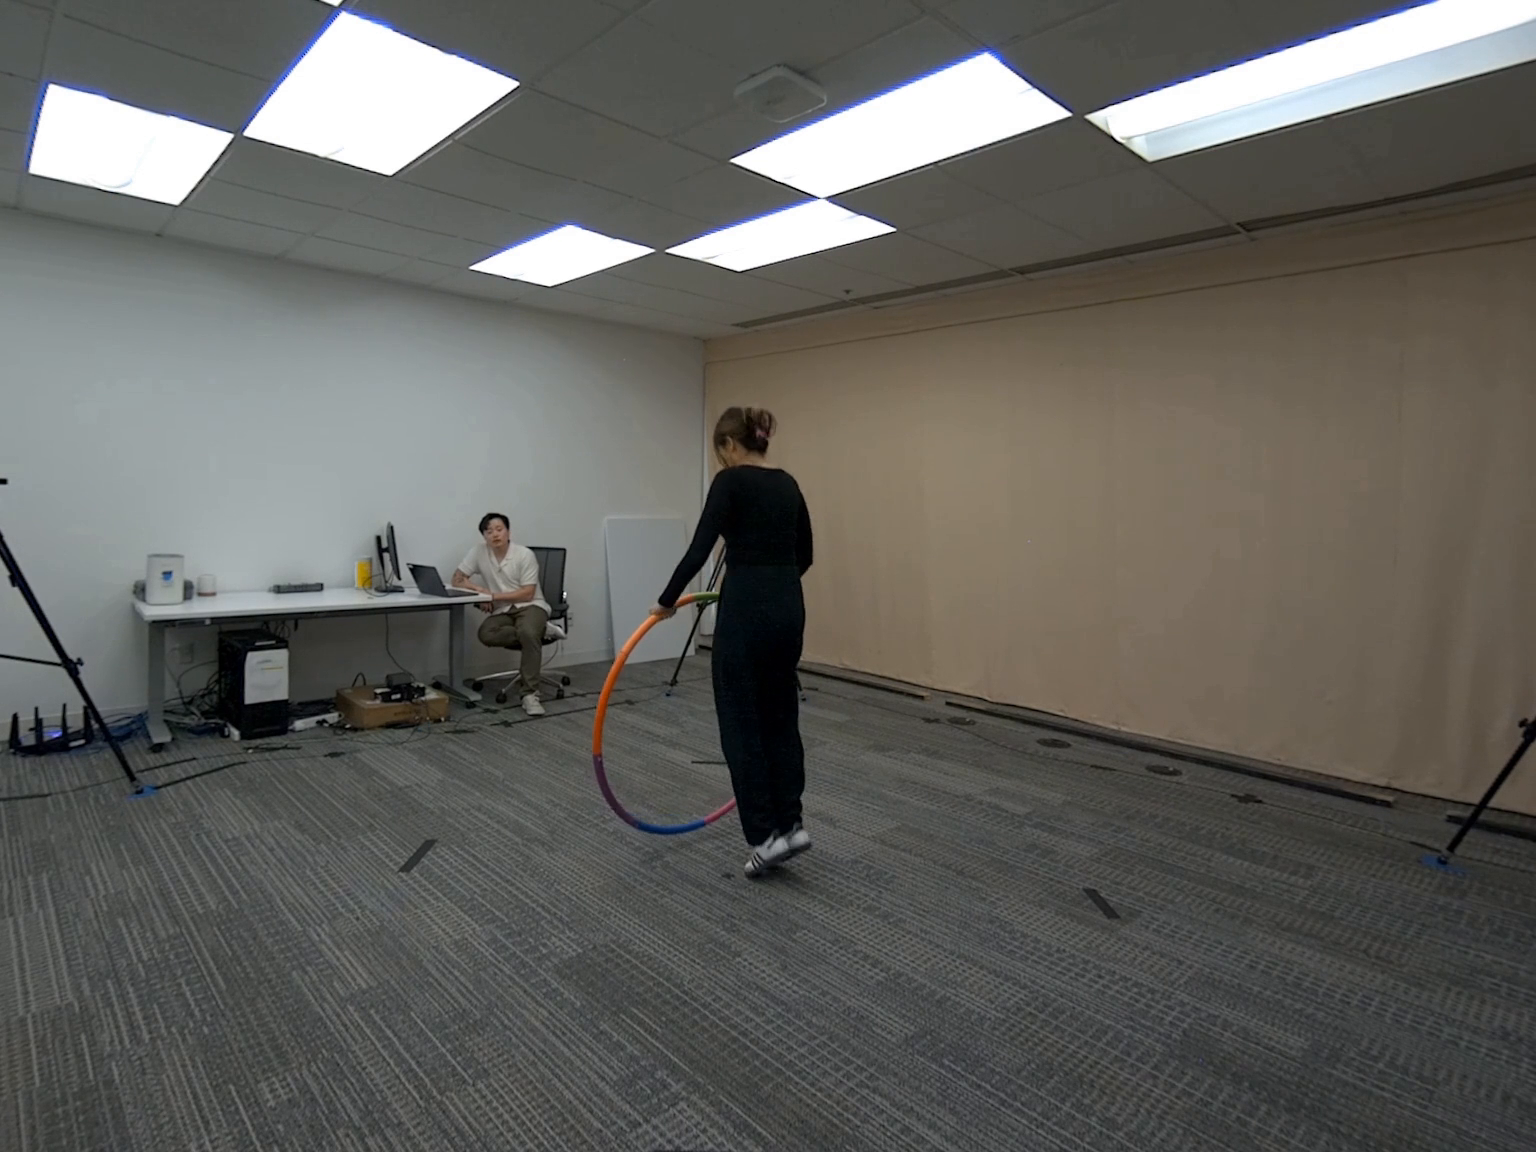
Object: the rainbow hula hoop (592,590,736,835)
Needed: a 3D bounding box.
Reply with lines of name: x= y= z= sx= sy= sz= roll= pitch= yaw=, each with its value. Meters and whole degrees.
rainbow hula hoop: x=-0.255 y=0.546 z=3.312 sx=0.956 sy=0.973 sz=0.036 roll=-2 pitch=11 yaw=-41
